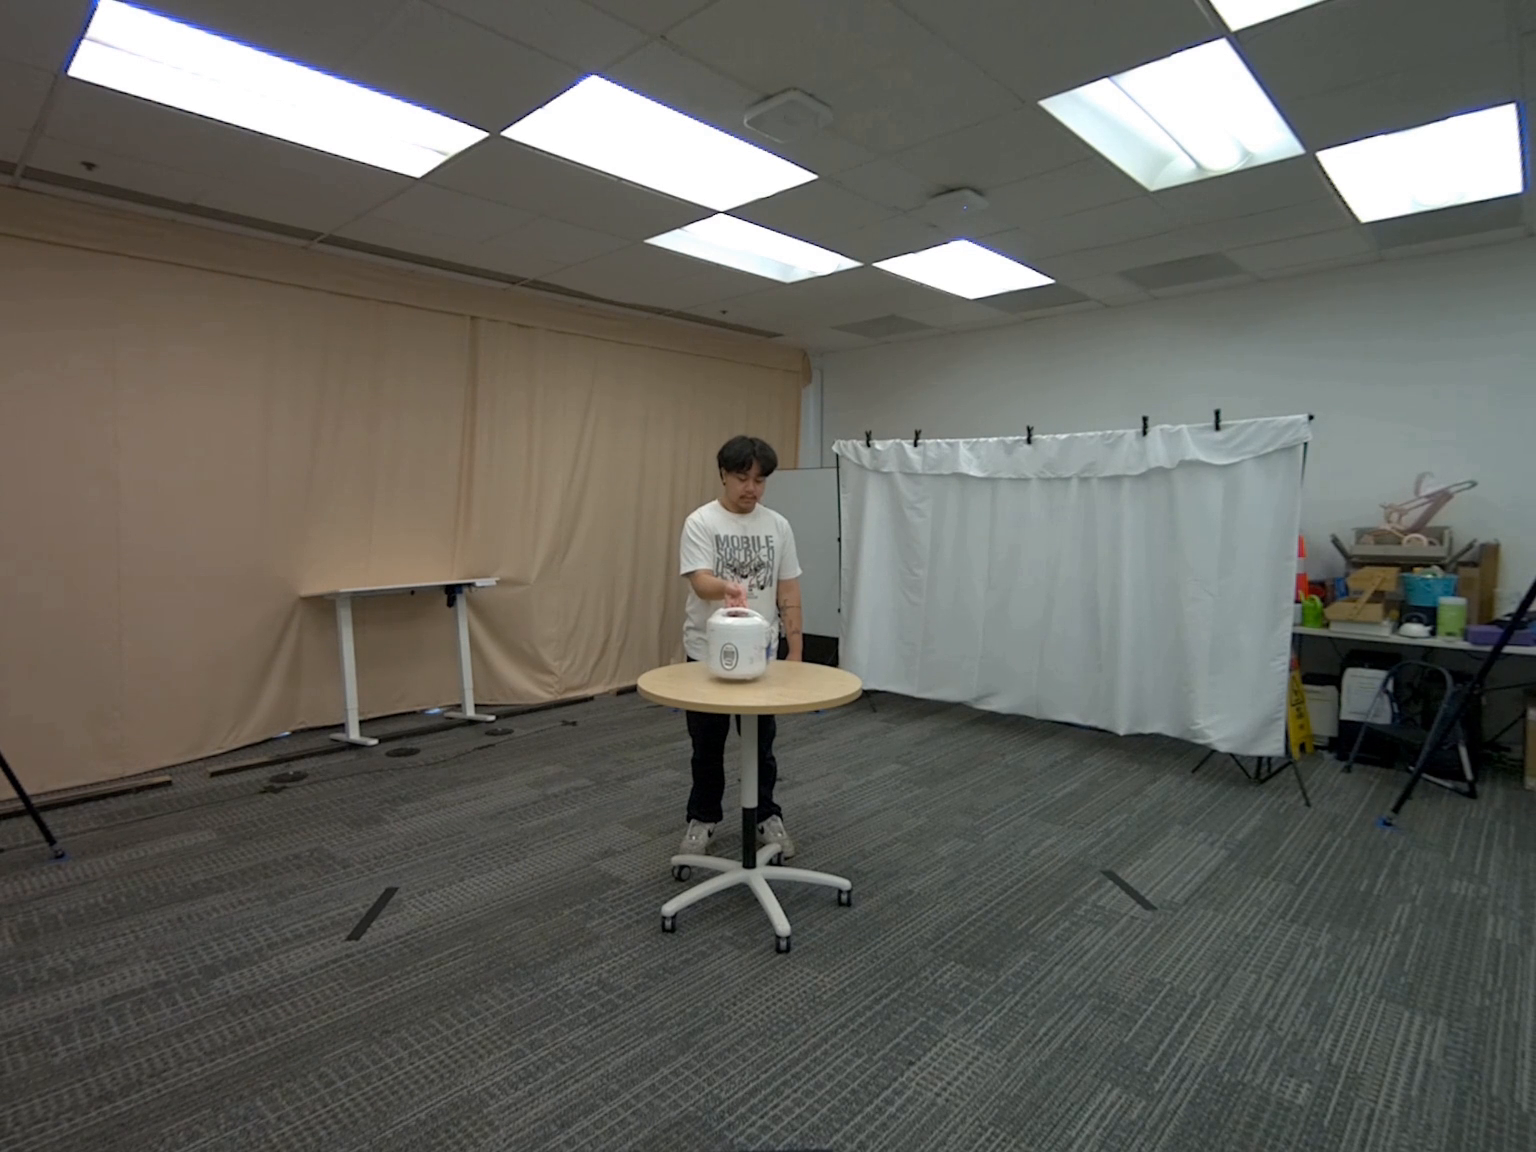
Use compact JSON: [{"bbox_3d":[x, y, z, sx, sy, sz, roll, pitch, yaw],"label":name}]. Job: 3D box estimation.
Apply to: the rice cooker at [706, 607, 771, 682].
[{"bbox_3d":[-0.102,0.221,2.880,0.224,0.232,0.214,3,3,15],"label":"rice cooker"}]
